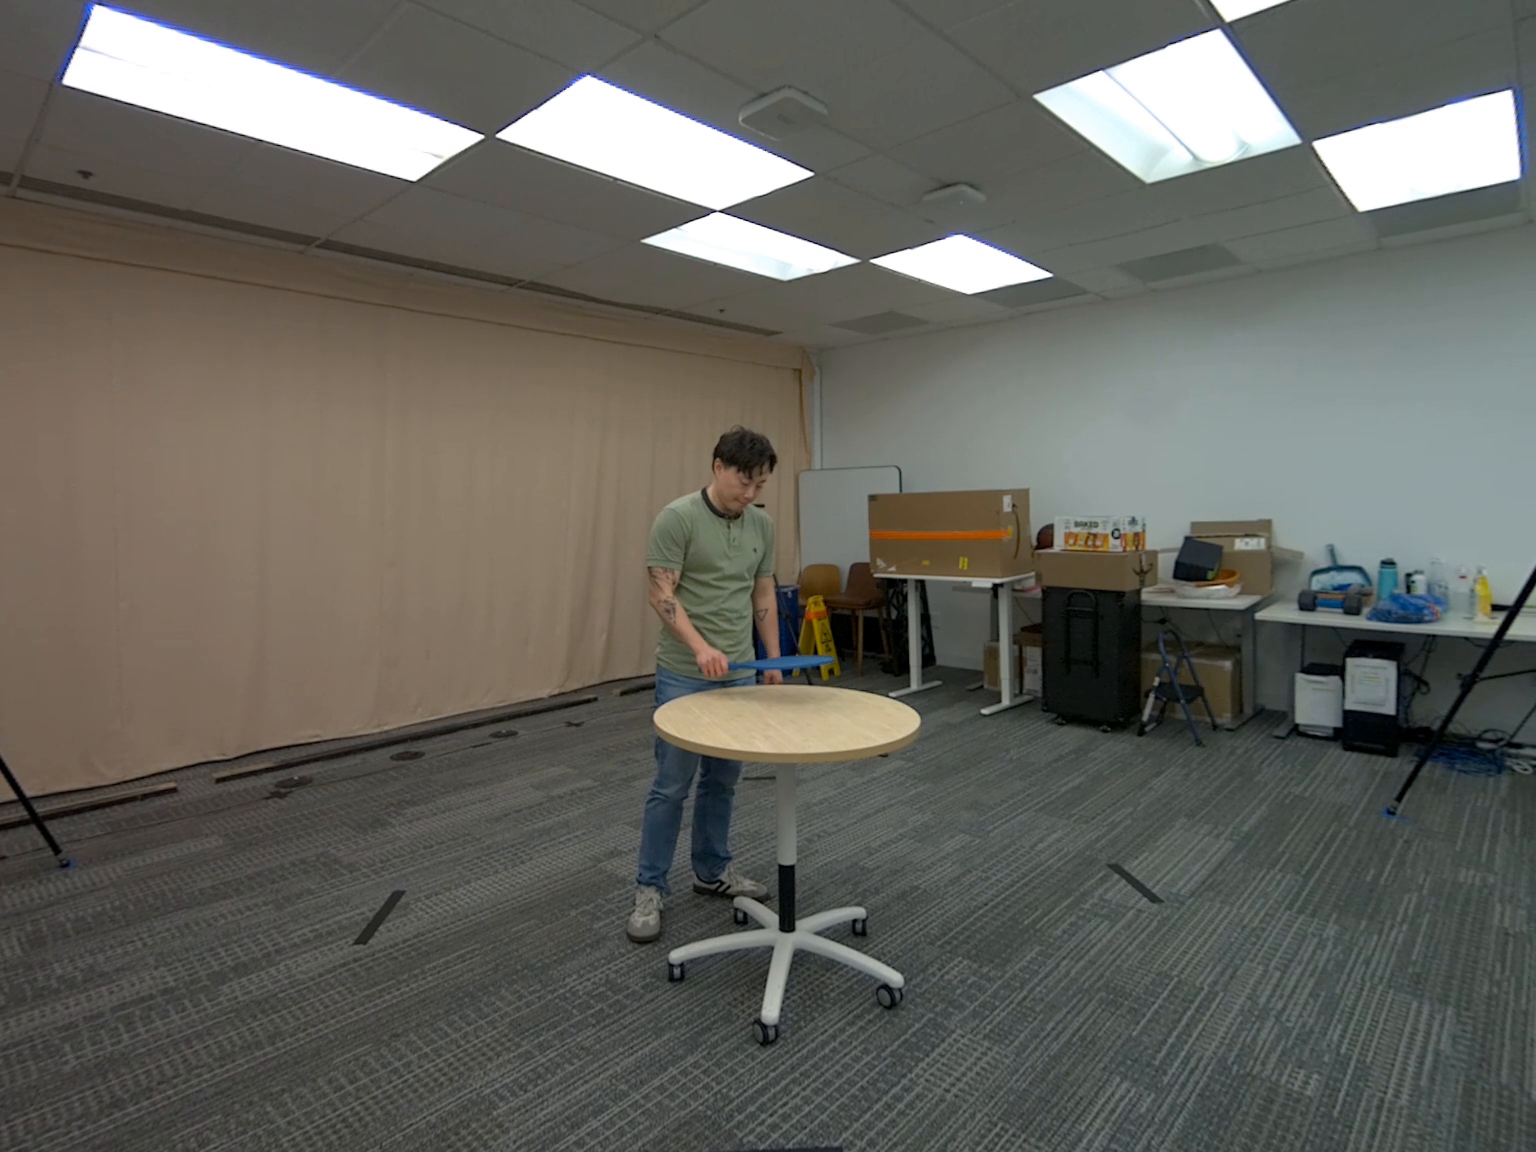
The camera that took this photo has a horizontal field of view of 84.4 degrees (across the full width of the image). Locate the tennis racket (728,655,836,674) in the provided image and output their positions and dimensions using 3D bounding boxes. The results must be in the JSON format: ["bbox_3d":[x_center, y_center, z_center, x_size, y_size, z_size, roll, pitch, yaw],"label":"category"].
[{"bbox_3d":[-0.005,0.274,2.649,0.438,0.032,0.211,-5,3,12],"label":"tennis racket"}]
